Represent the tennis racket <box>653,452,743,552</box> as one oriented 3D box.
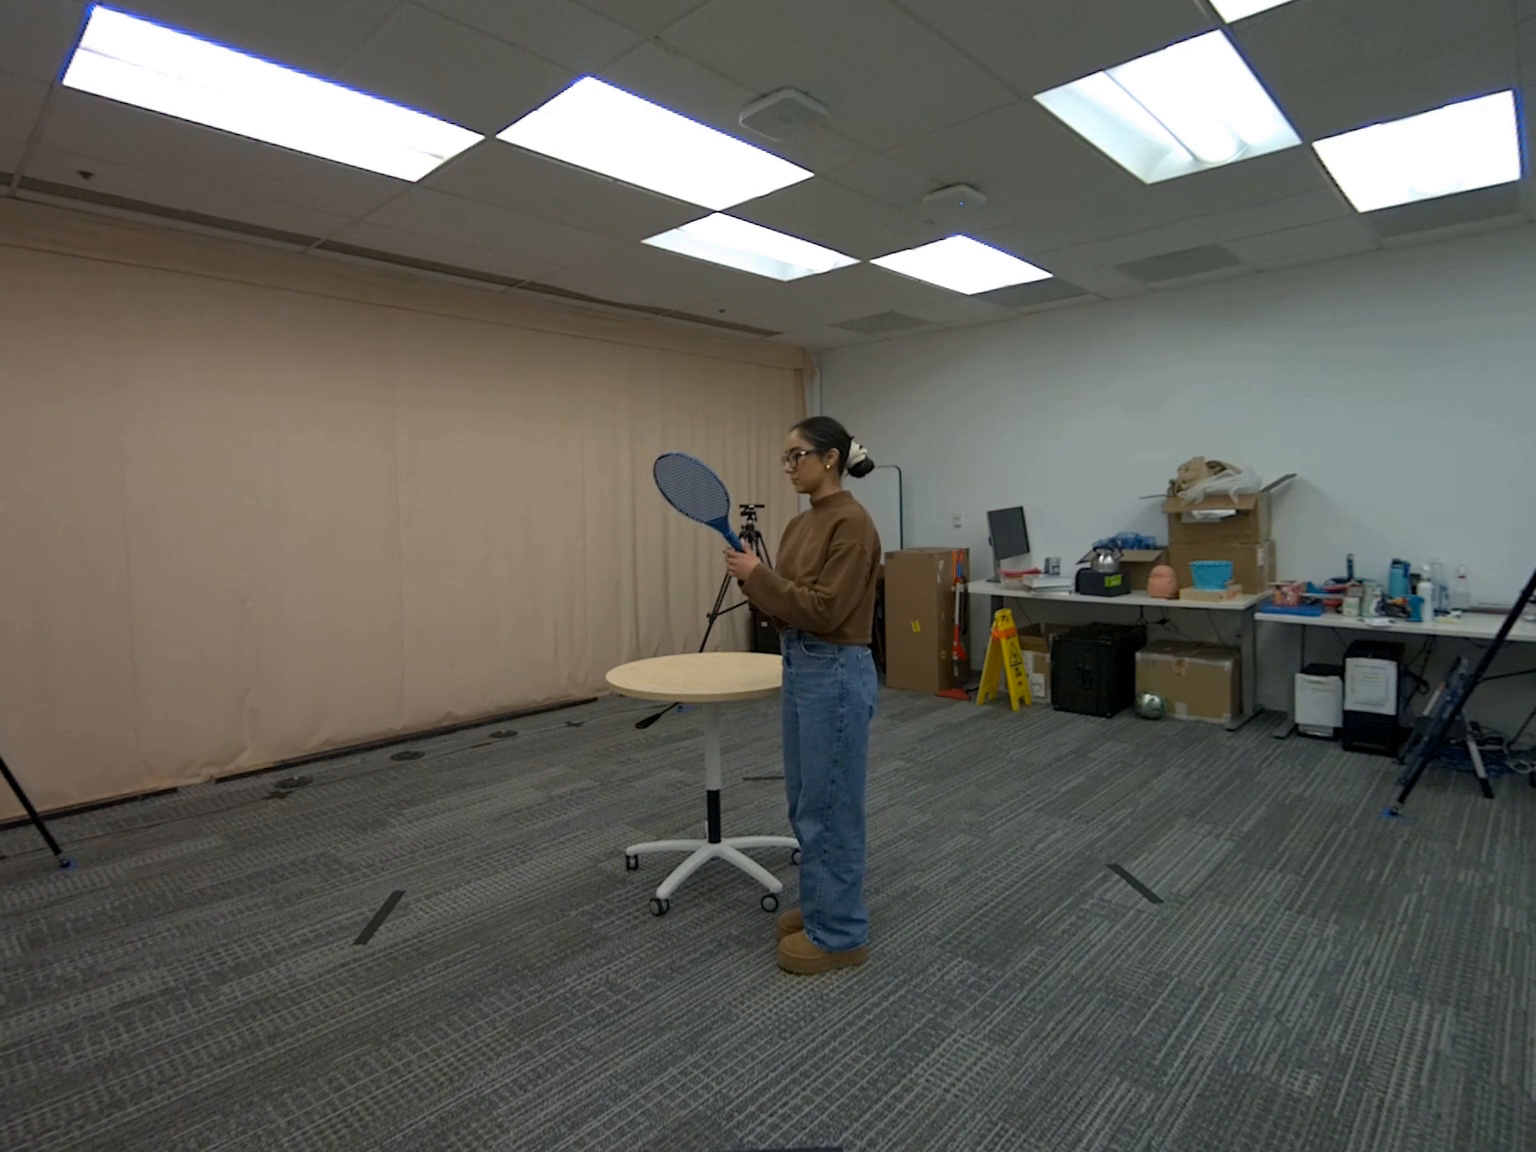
[{"bbox_3d":[-0.177,-0.189,2.467,0.219,0.421,0.032,-14,34,39],"label":"tennis racket"}]
